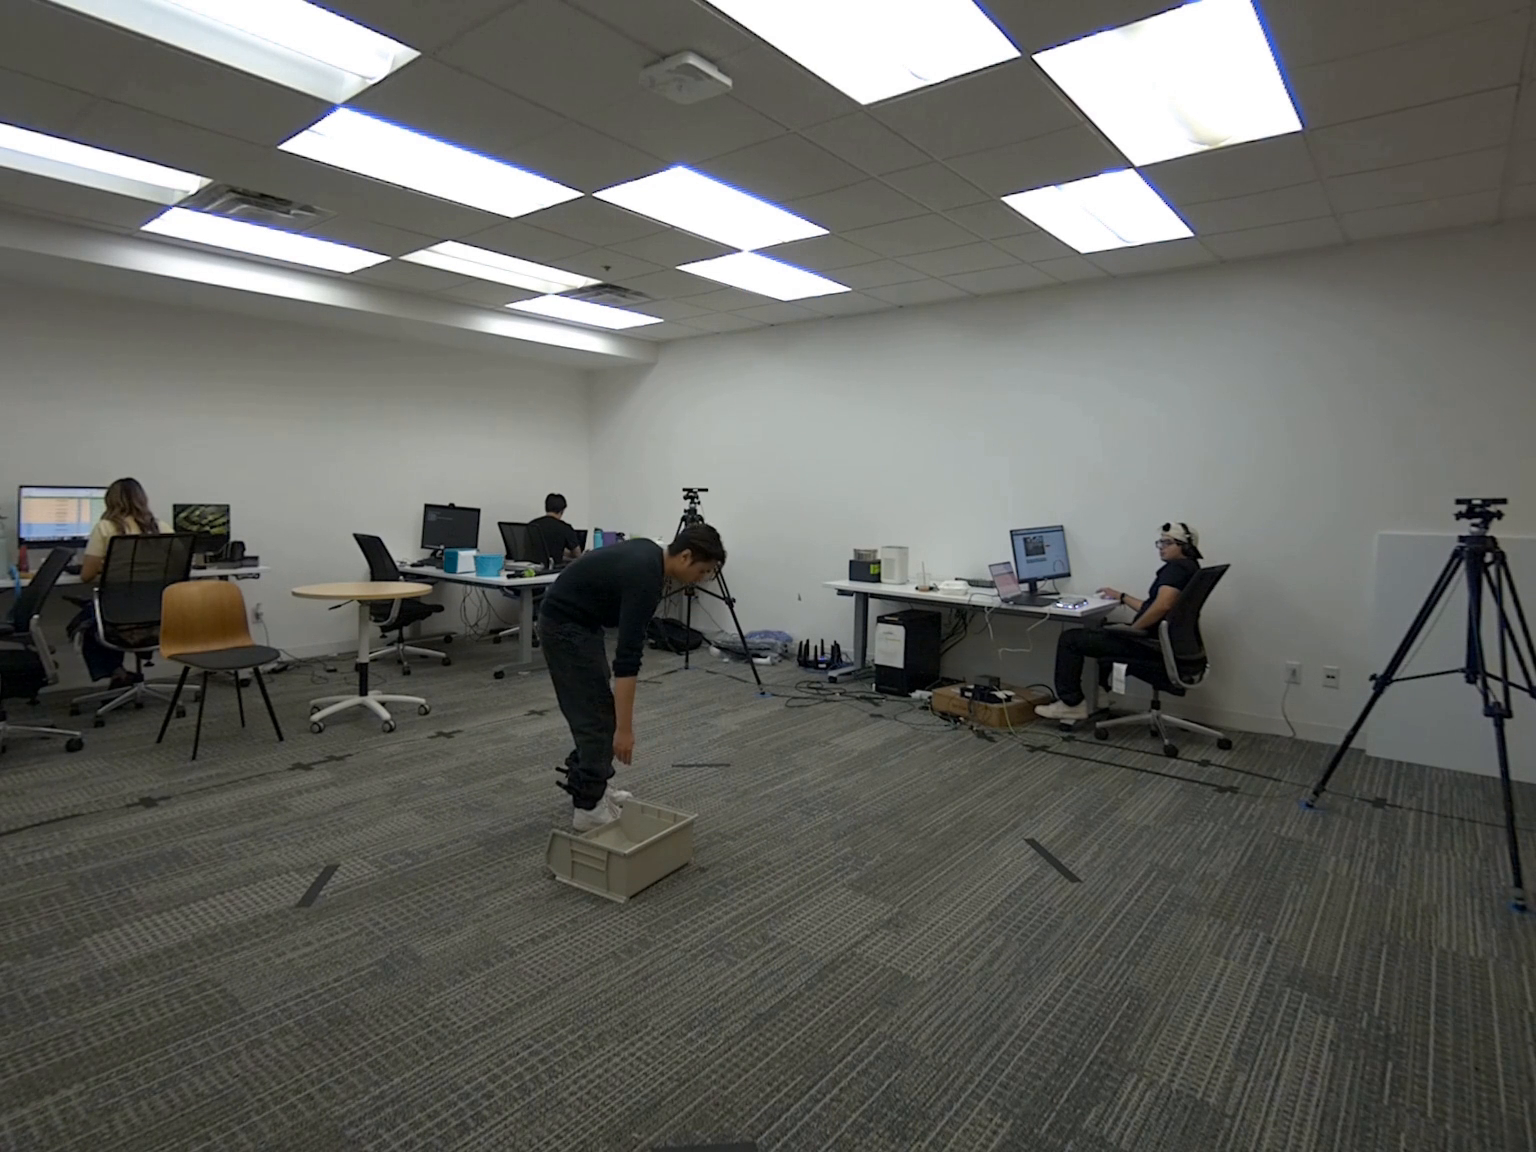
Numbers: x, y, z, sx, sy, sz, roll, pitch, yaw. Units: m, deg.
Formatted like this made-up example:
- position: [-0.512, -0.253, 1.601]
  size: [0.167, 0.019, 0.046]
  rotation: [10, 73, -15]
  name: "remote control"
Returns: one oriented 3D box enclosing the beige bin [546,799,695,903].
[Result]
- position: [-0.540, 0.974, 3.092]
  size: [0.389, 0.188, 0.411]
  rotation: [5, 5, 32]
  name: "beige bin"
